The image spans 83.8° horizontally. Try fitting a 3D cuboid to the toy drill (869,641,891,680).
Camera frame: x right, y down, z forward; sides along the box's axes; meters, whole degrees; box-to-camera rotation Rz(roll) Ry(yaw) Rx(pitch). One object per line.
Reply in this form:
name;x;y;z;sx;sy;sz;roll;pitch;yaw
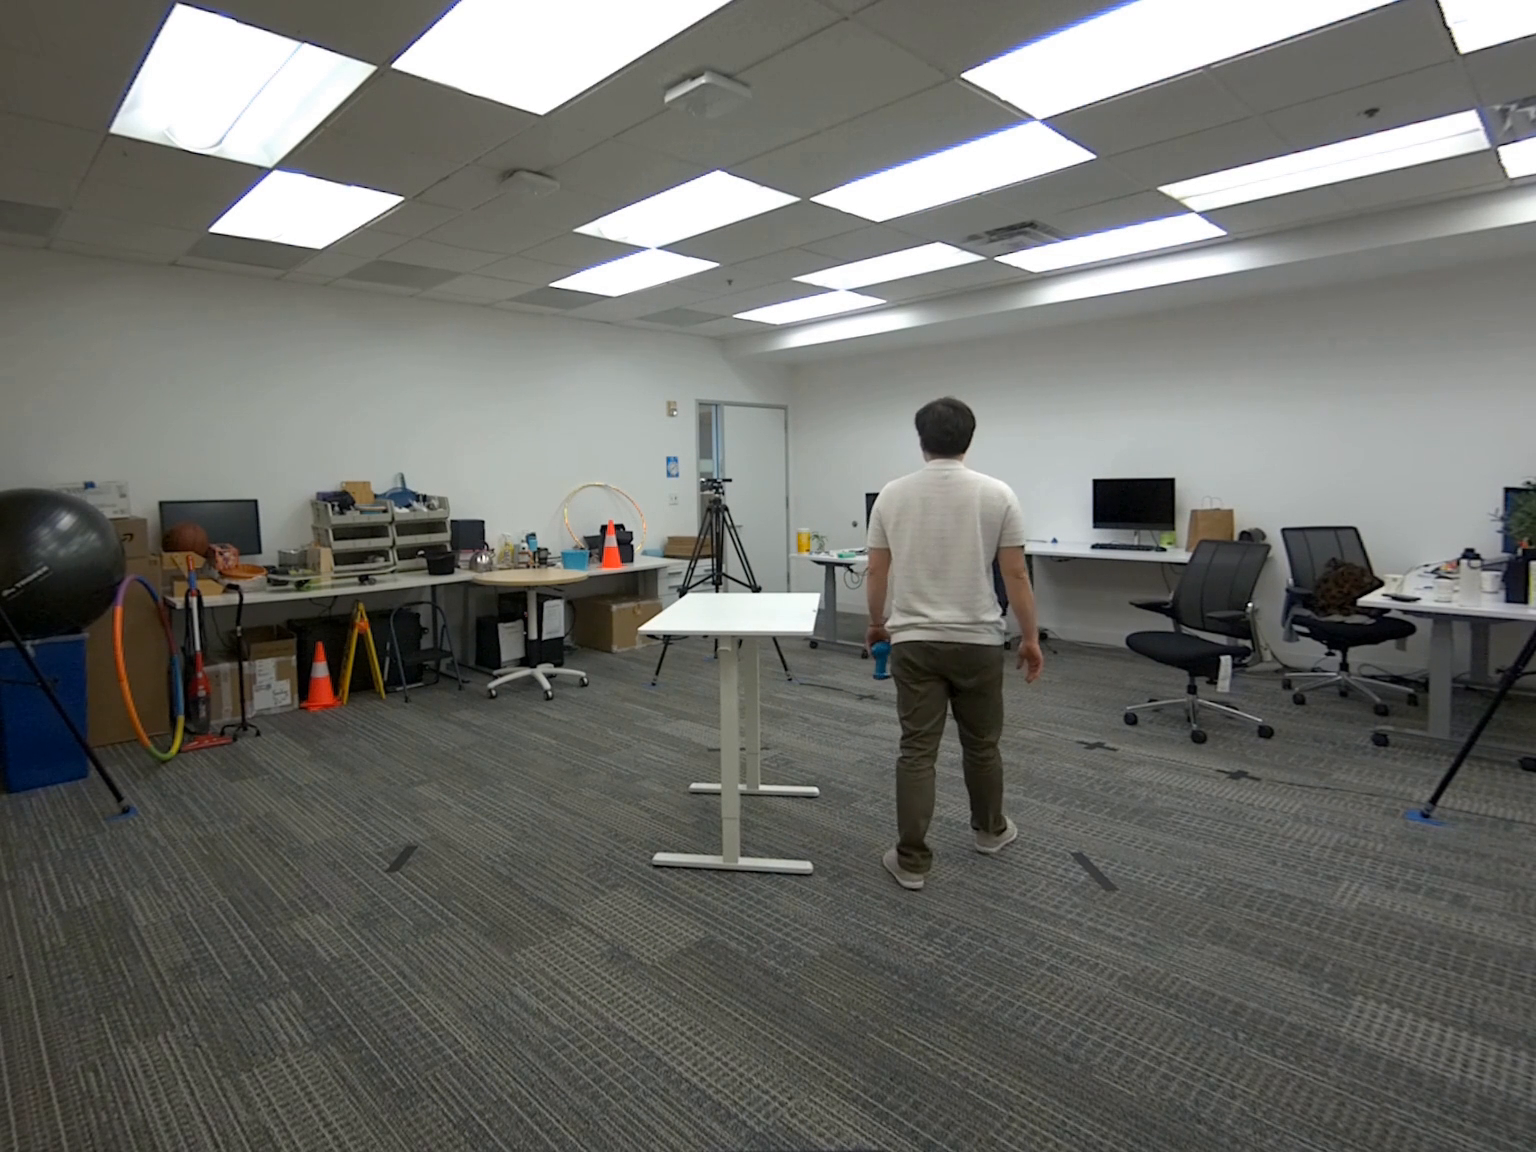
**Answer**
toy drill;0.464;0.300;3.262;0.166;0.145;0.063;-7;7;-29
